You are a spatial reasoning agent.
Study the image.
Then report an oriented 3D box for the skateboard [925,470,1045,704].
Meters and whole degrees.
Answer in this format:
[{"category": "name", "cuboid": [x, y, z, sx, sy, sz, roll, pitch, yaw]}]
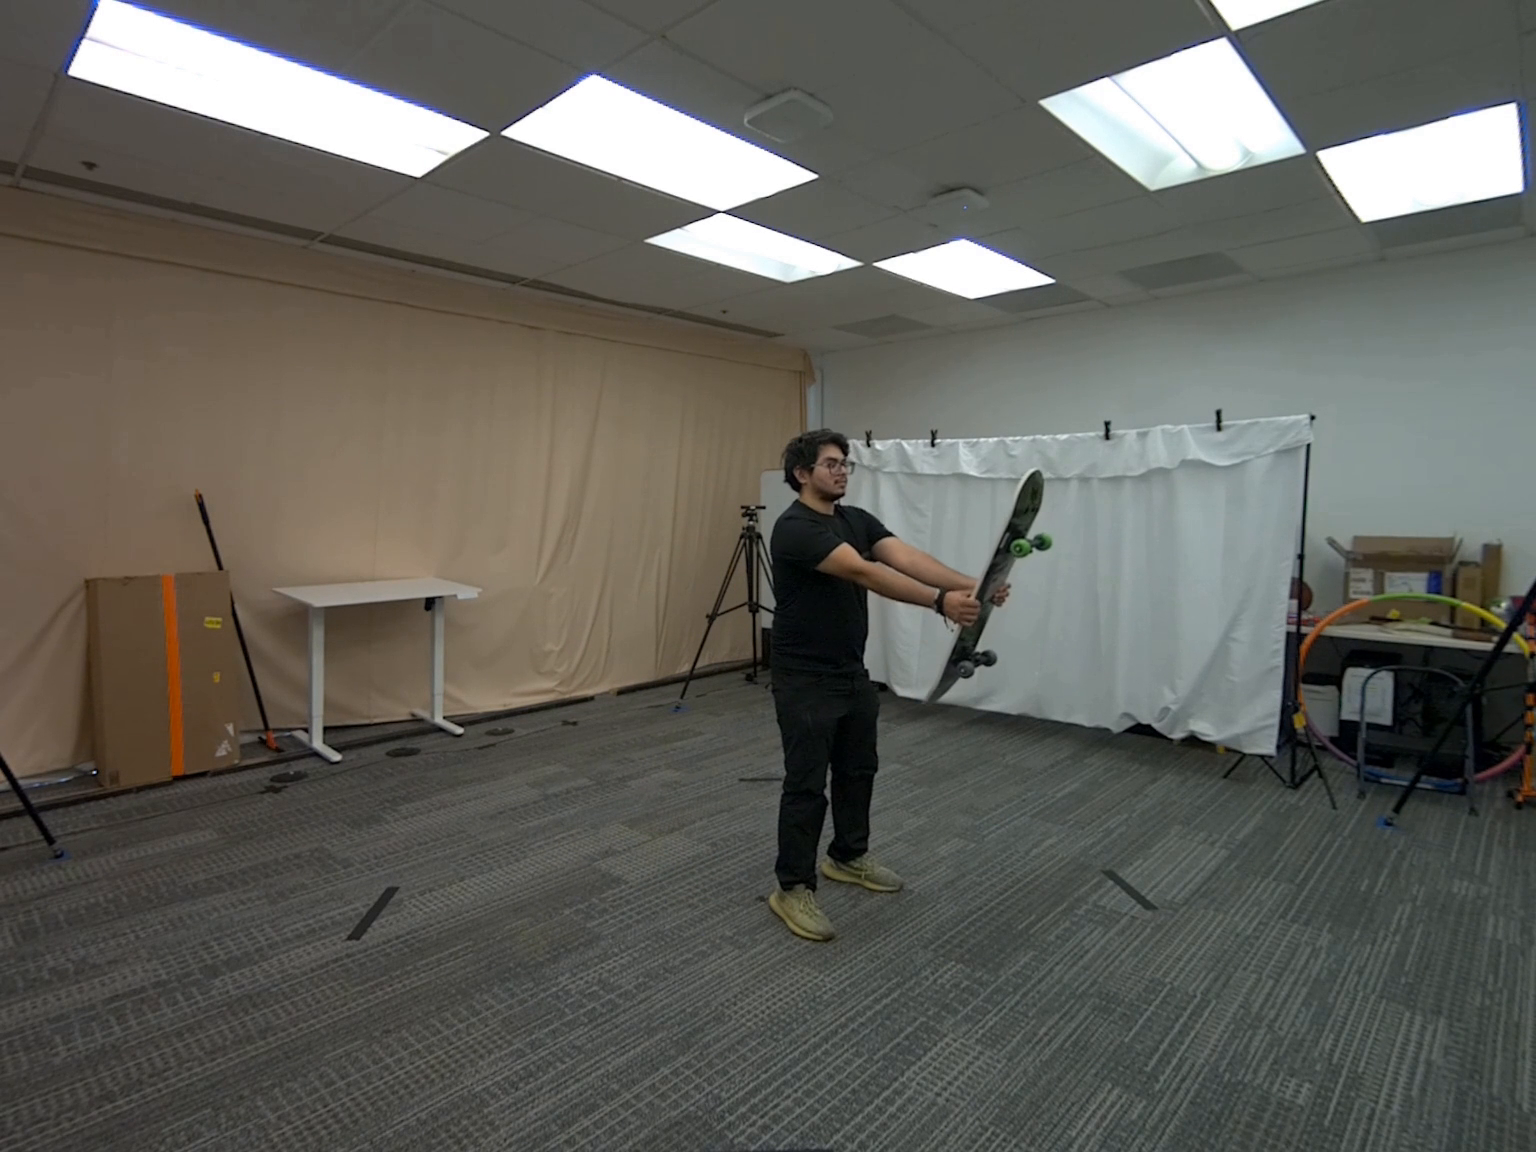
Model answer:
[{"category": "skateboard", "cuboid": [0.657, 0.088, 2.436, 0.114, 0.781, 0.188, 33, 27, 31]}]
